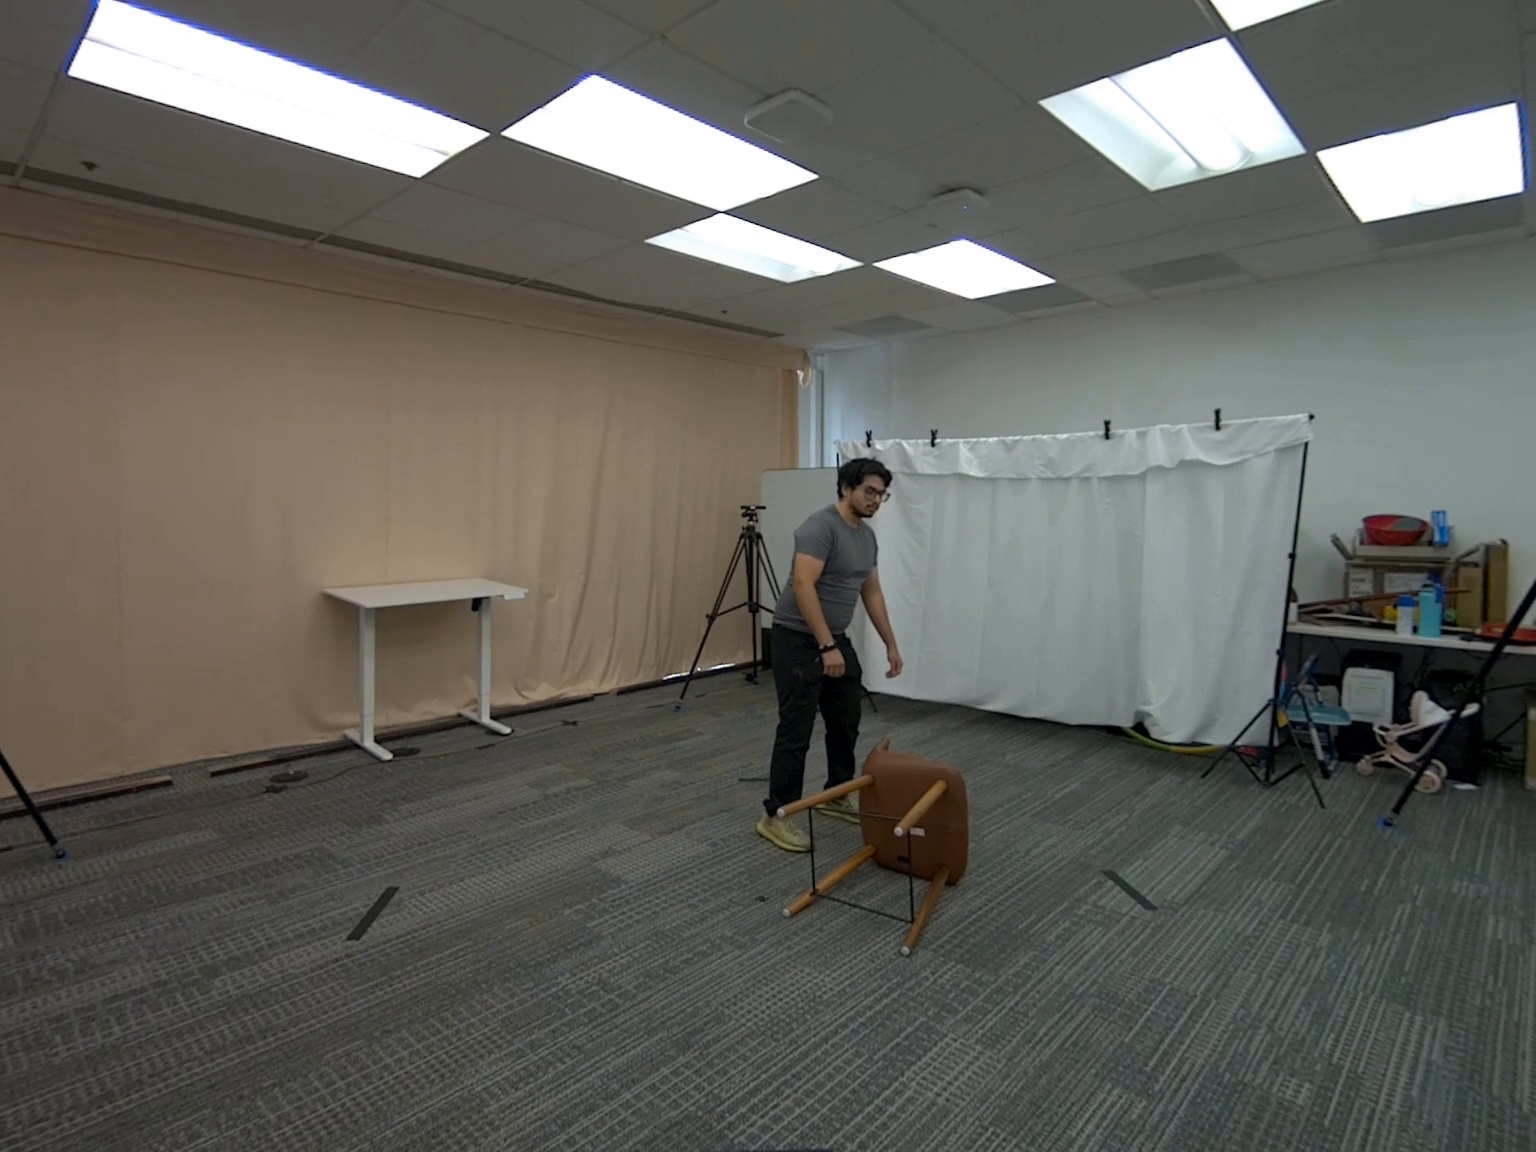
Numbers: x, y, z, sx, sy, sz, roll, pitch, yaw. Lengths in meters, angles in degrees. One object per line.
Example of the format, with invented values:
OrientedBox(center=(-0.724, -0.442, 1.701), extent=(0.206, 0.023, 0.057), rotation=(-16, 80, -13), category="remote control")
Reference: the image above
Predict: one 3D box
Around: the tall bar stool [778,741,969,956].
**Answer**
OrientedBox(center=(0.460, 0.923, 3.063), extent=(0.481, 0.455, 0.867), rotation=(-1, 5, 32), category="tall bar stool")
